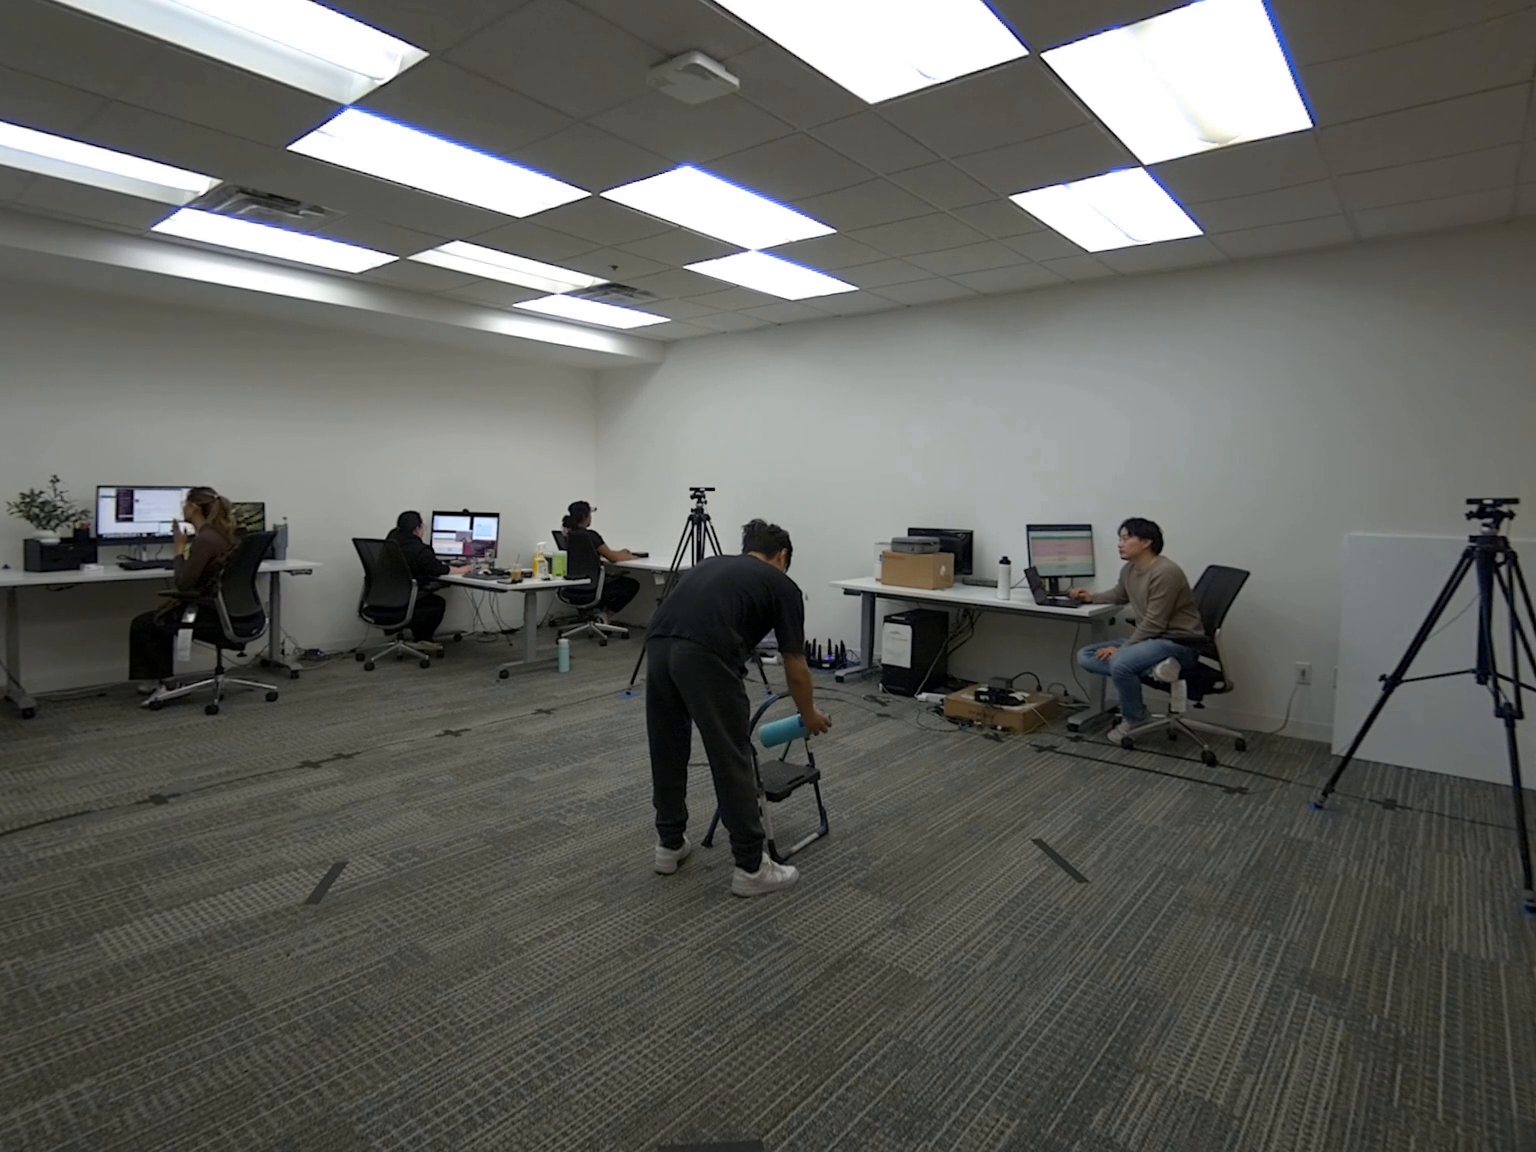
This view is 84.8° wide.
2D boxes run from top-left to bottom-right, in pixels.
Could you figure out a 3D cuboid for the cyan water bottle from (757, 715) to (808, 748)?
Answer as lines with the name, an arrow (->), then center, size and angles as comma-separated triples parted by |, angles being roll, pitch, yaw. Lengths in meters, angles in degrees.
cyan water bottle -> 0.098, 0.584, 3.306 | 0.286, 0.093, 0.091 | -21, -2, 17
